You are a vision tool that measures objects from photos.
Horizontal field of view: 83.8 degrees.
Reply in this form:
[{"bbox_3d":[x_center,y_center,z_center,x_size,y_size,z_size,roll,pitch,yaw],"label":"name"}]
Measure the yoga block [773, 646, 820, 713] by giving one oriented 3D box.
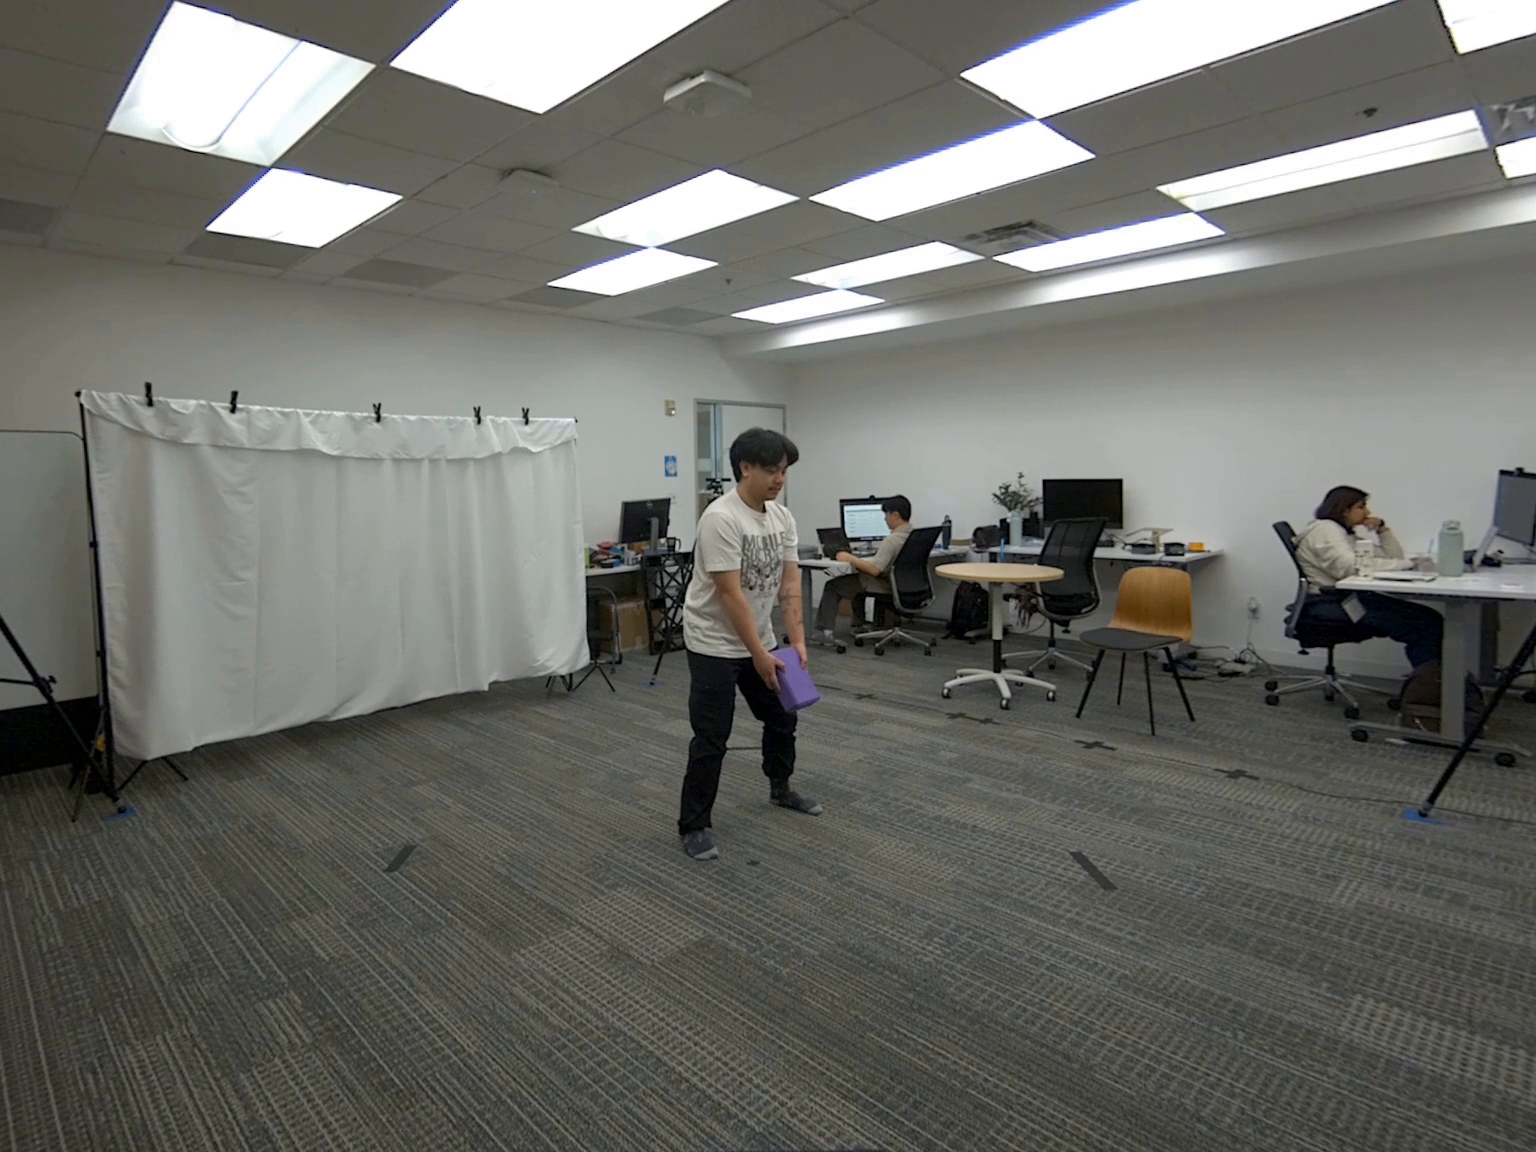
[{"bbox_3d":[0.081,0.395,3.254,0.145,0.235,0.077,-5,-29,-47],"label":"yoga block"}]
